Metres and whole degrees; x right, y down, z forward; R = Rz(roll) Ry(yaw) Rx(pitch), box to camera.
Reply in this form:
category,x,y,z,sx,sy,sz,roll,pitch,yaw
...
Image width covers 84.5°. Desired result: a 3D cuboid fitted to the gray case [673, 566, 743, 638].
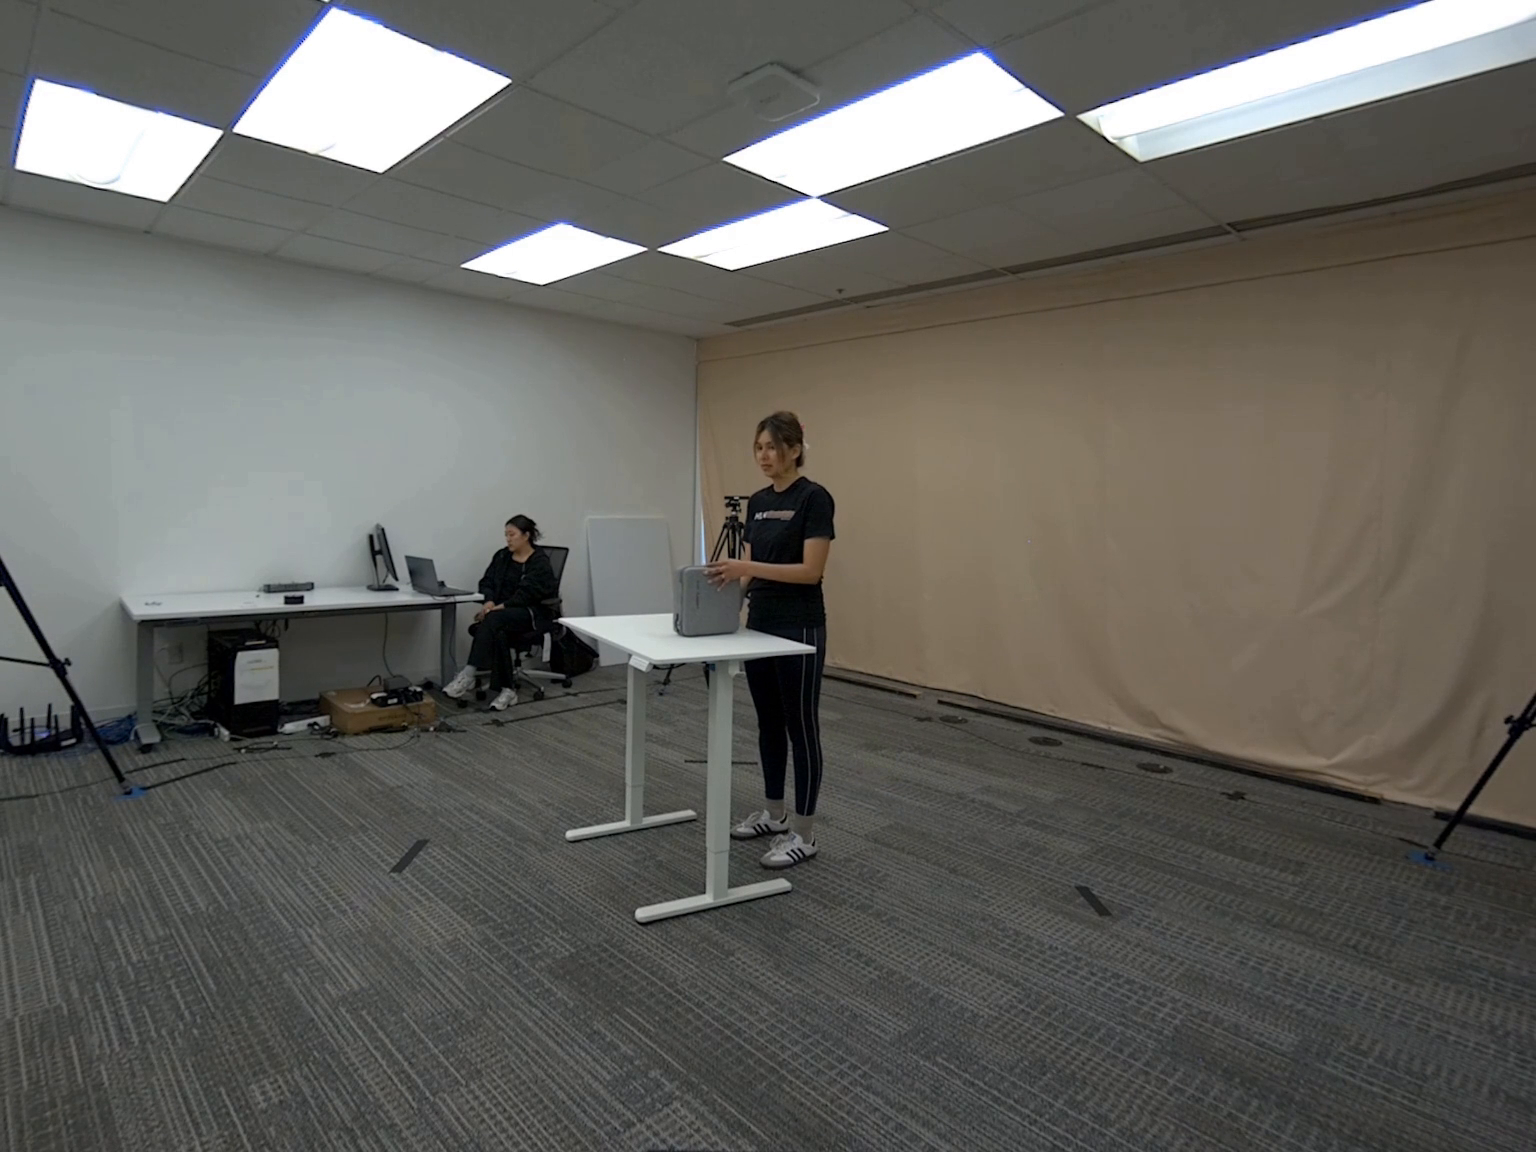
category,x,y,z,sx,sy,sz,roll,pitch,yaw
gray case,-0.229,0.085,3.114,0.255,0.256,0.107,-1,2,-34
